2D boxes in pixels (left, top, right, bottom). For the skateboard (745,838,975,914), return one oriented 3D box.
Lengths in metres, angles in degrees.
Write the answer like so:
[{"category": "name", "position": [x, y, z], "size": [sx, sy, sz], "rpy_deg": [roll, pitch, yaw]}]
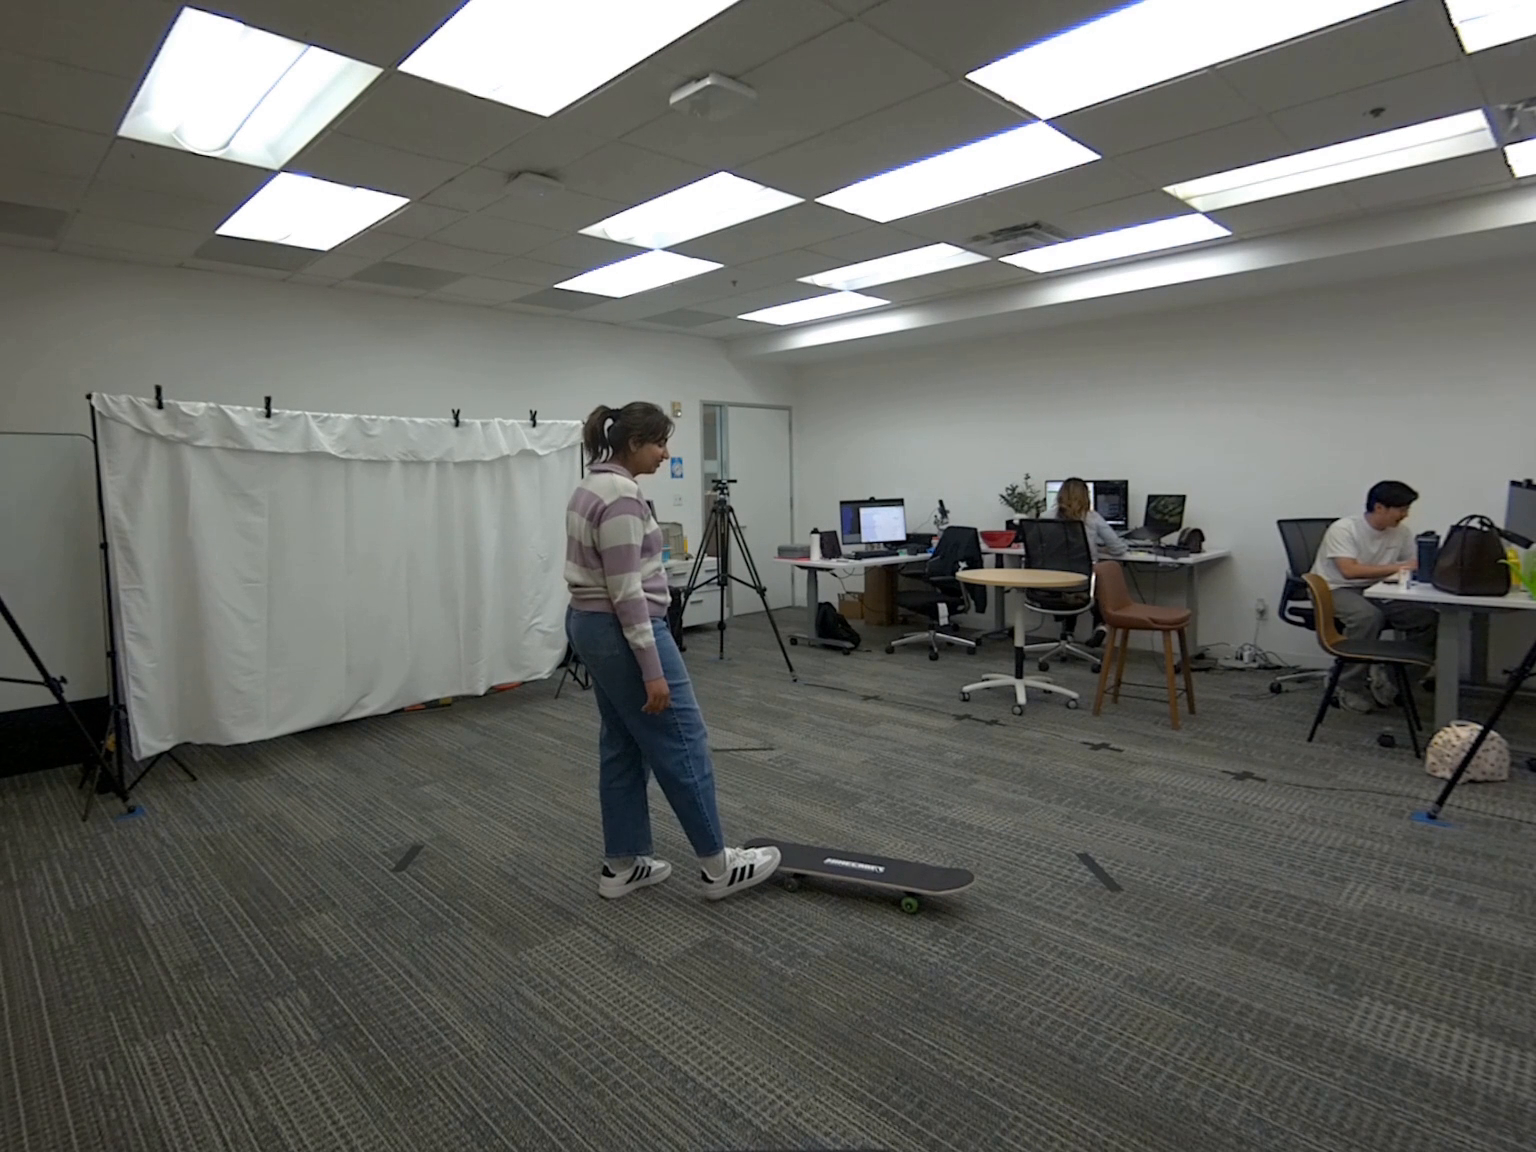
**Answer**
[{"category": "skateboard", "position": [0.291, 1.004, 2.881], "size": [0.802, 0.110, 0.190], "rpy_deg": [1, 6, 23]}]
